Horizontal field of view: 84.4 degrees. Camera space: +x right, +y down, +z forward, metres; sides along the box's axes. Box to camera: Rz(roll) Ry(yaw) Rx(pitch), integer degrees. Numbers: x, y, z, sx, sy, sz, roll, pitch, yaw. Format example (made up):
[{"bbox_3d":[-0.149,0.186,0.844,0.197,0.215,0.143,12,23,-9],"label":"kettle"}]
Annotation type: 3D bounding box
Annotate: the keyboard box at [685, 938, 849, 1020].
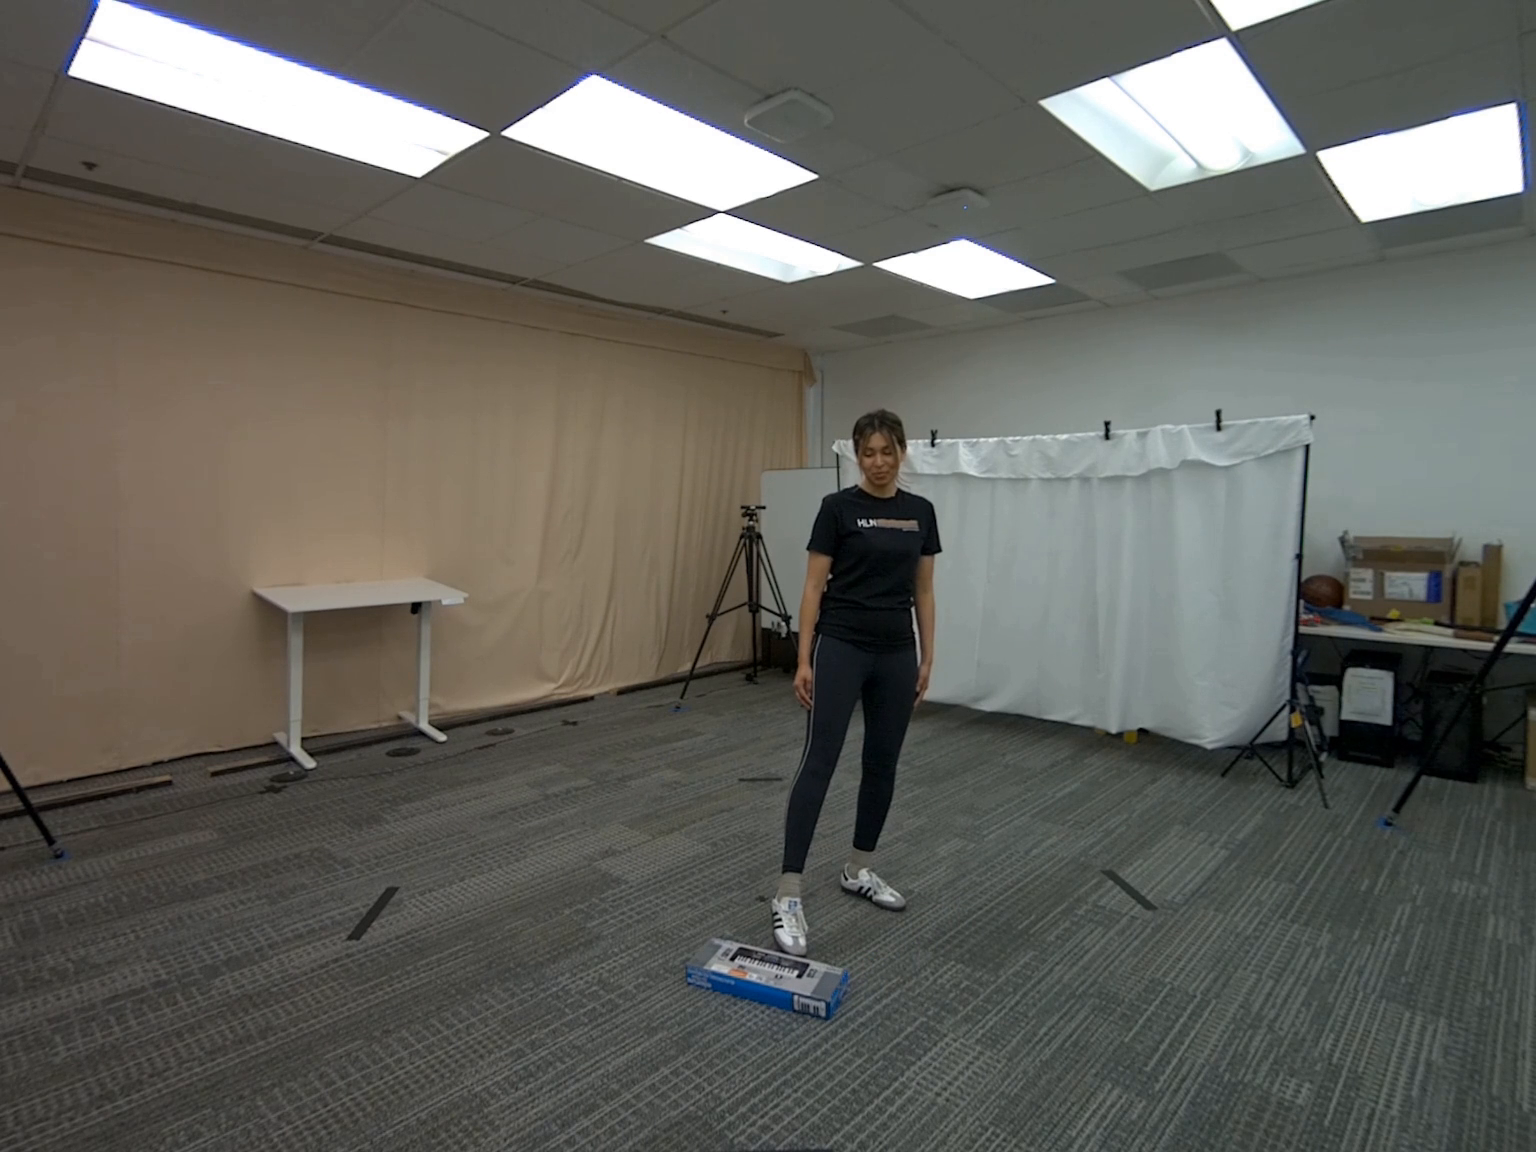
[{"bbox_3d":[-0.002,1.161,2.436,0.448,0.059,0.172,2,6,24],"label":"keyboard box"}]
